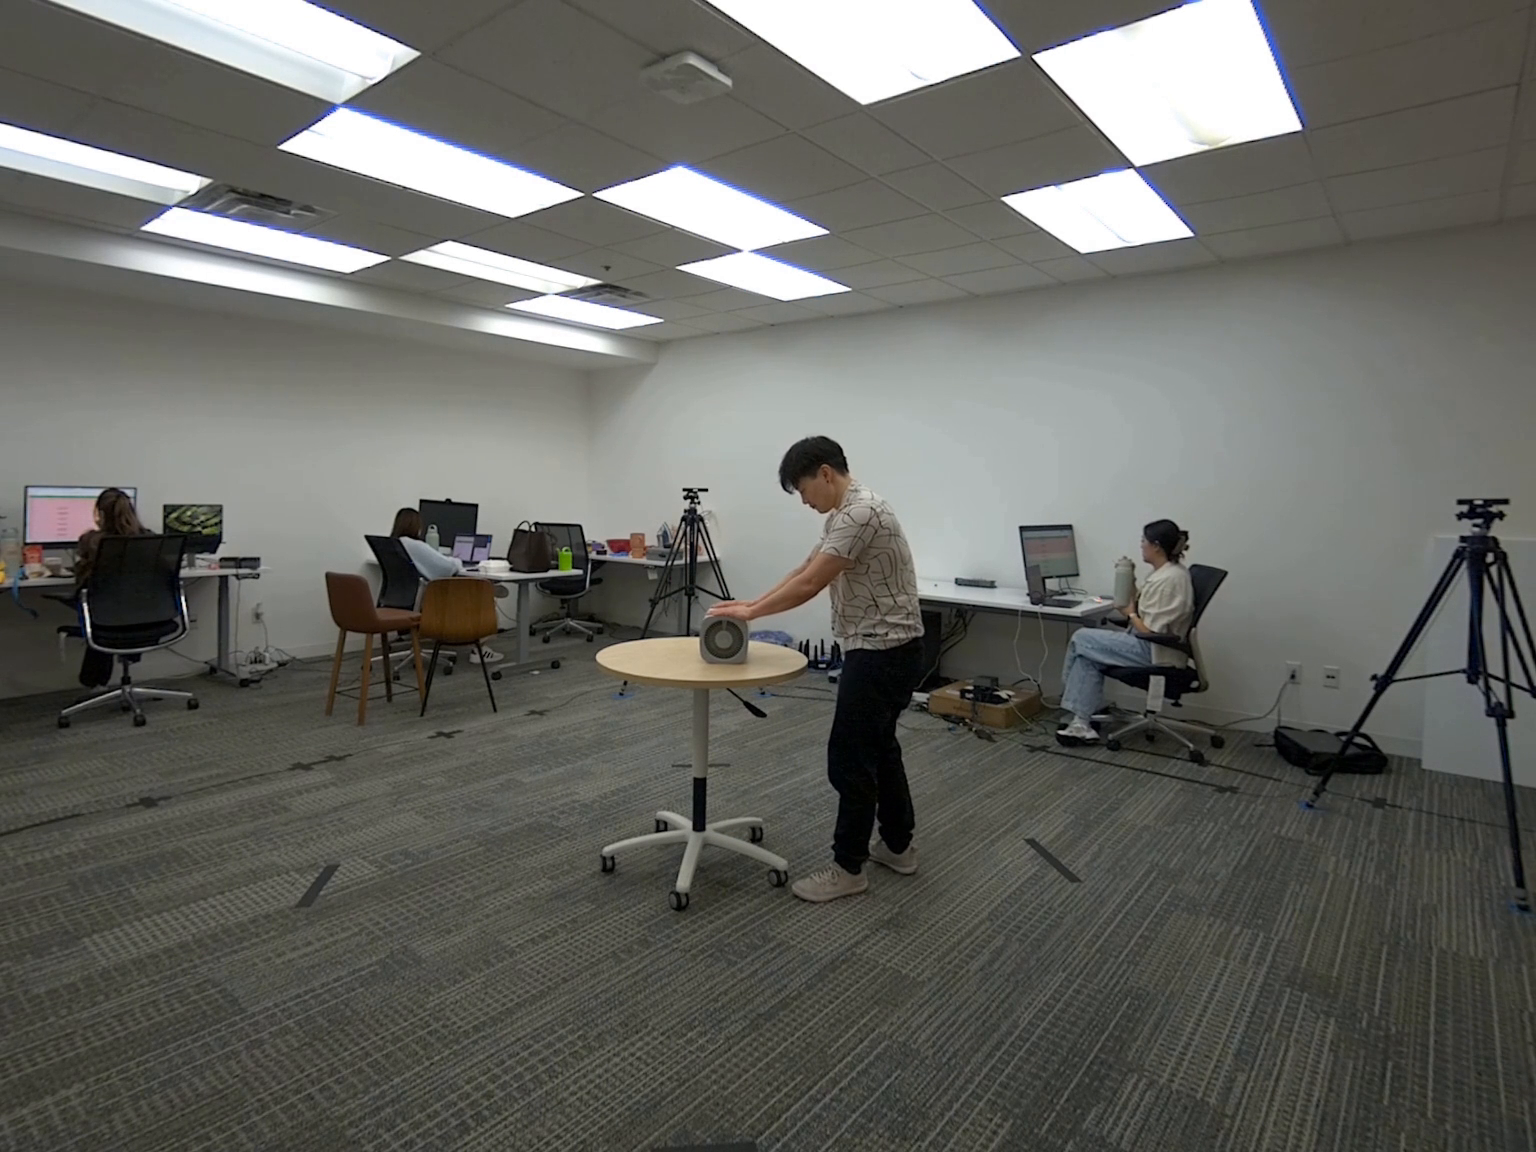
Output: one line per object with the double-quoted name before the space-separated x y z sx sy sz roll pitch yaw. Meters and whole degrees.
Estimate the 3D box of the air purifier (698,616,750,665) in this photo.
"air purifier" -0.165 0.203 3.096 0.171 0.171 0.266 2 6 1
